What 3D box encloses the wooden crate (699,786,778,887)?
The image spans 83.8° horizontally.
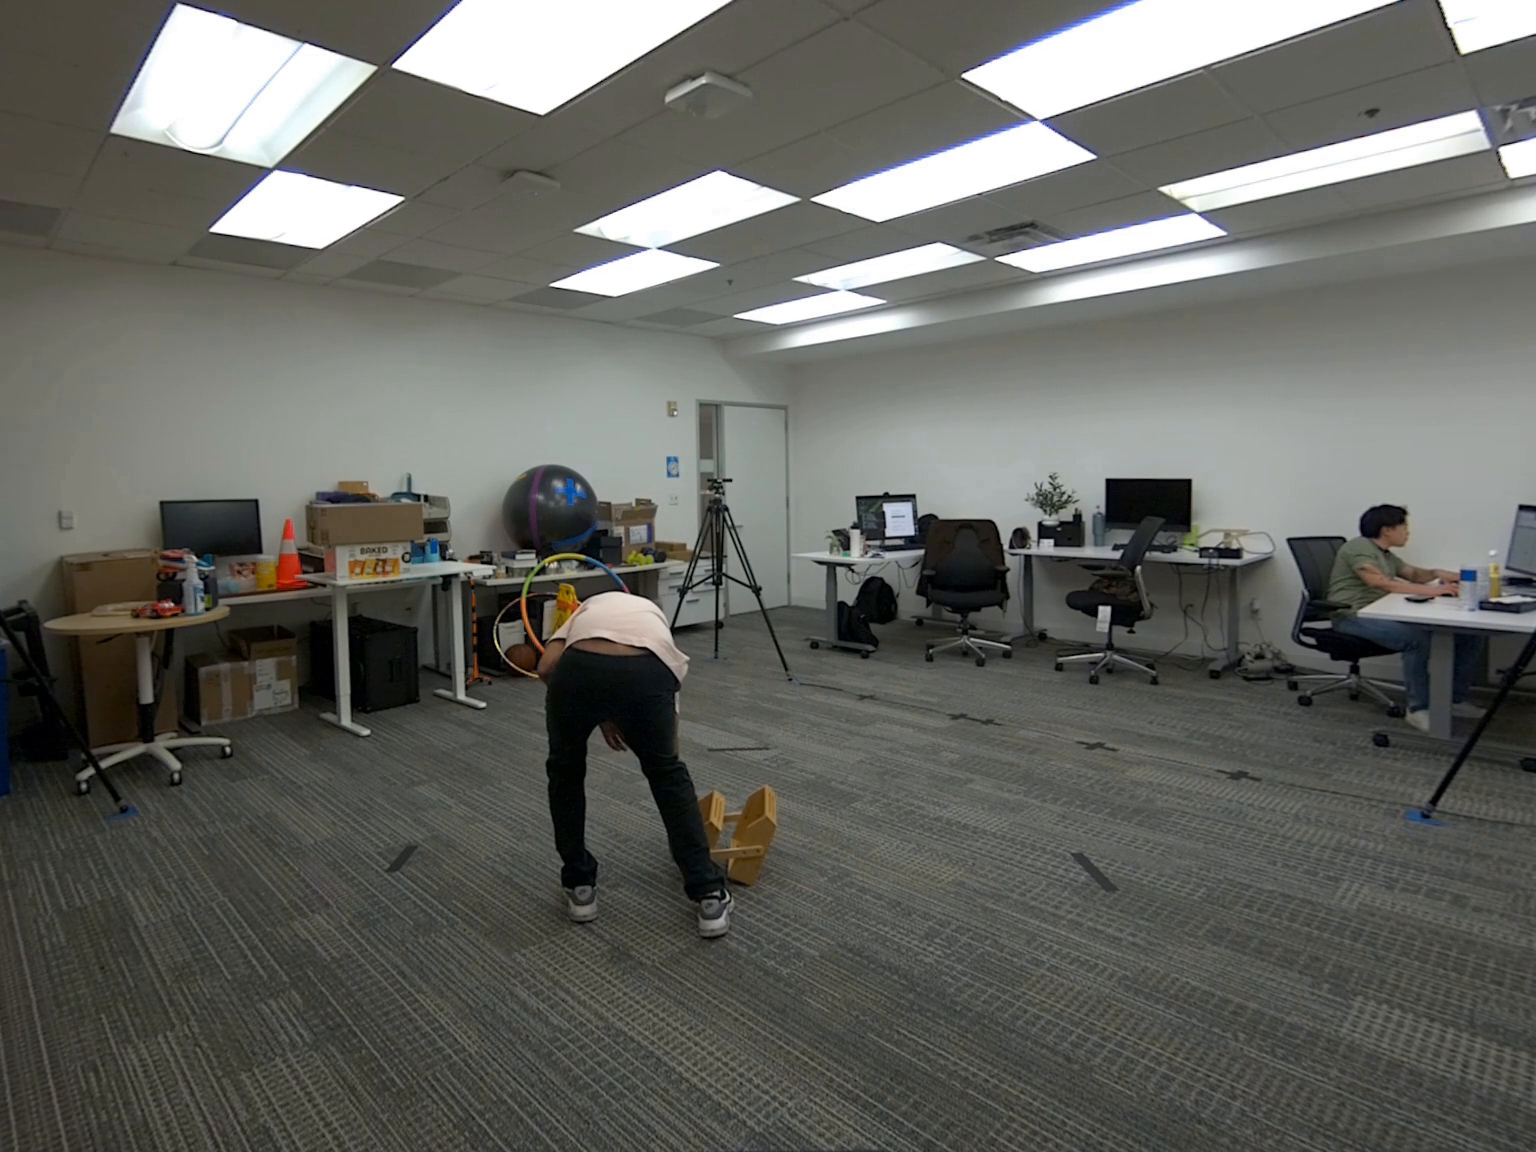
[{"bbox_3d":[-0.136,0.909,3.077,0.273,0.301,0.325,21,5,-1],"label":"wooden crate"}]
